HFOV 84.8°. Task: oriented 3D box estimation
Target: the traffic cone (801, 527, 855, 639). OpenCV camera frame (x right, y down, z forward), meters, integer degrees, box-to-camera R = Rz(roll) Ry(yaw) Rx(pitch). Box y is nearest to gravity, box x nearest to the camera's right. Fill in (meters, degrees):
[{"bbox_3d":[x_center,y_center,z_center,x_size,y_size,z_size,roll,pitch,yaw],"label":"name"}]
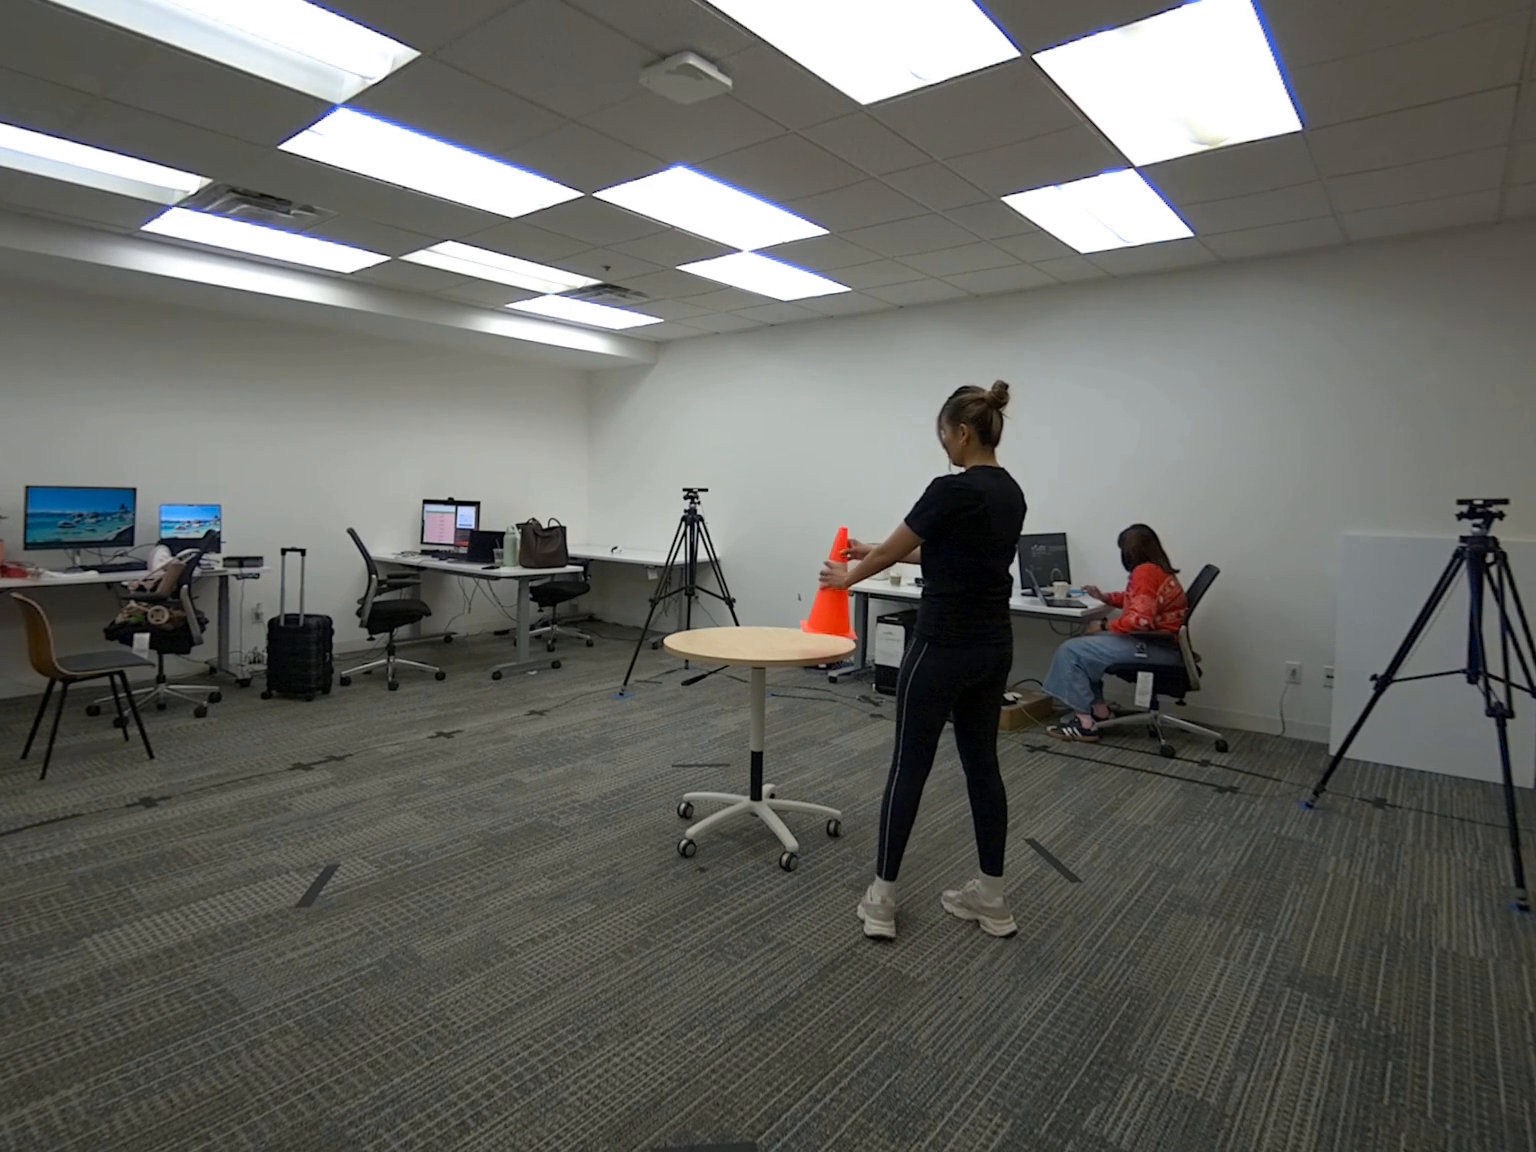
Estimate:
[{"bbox_3d":[0.241,0.009,3.103,0.205,0.382,0.204,8,5,6],"label":"traffic cone"}]
